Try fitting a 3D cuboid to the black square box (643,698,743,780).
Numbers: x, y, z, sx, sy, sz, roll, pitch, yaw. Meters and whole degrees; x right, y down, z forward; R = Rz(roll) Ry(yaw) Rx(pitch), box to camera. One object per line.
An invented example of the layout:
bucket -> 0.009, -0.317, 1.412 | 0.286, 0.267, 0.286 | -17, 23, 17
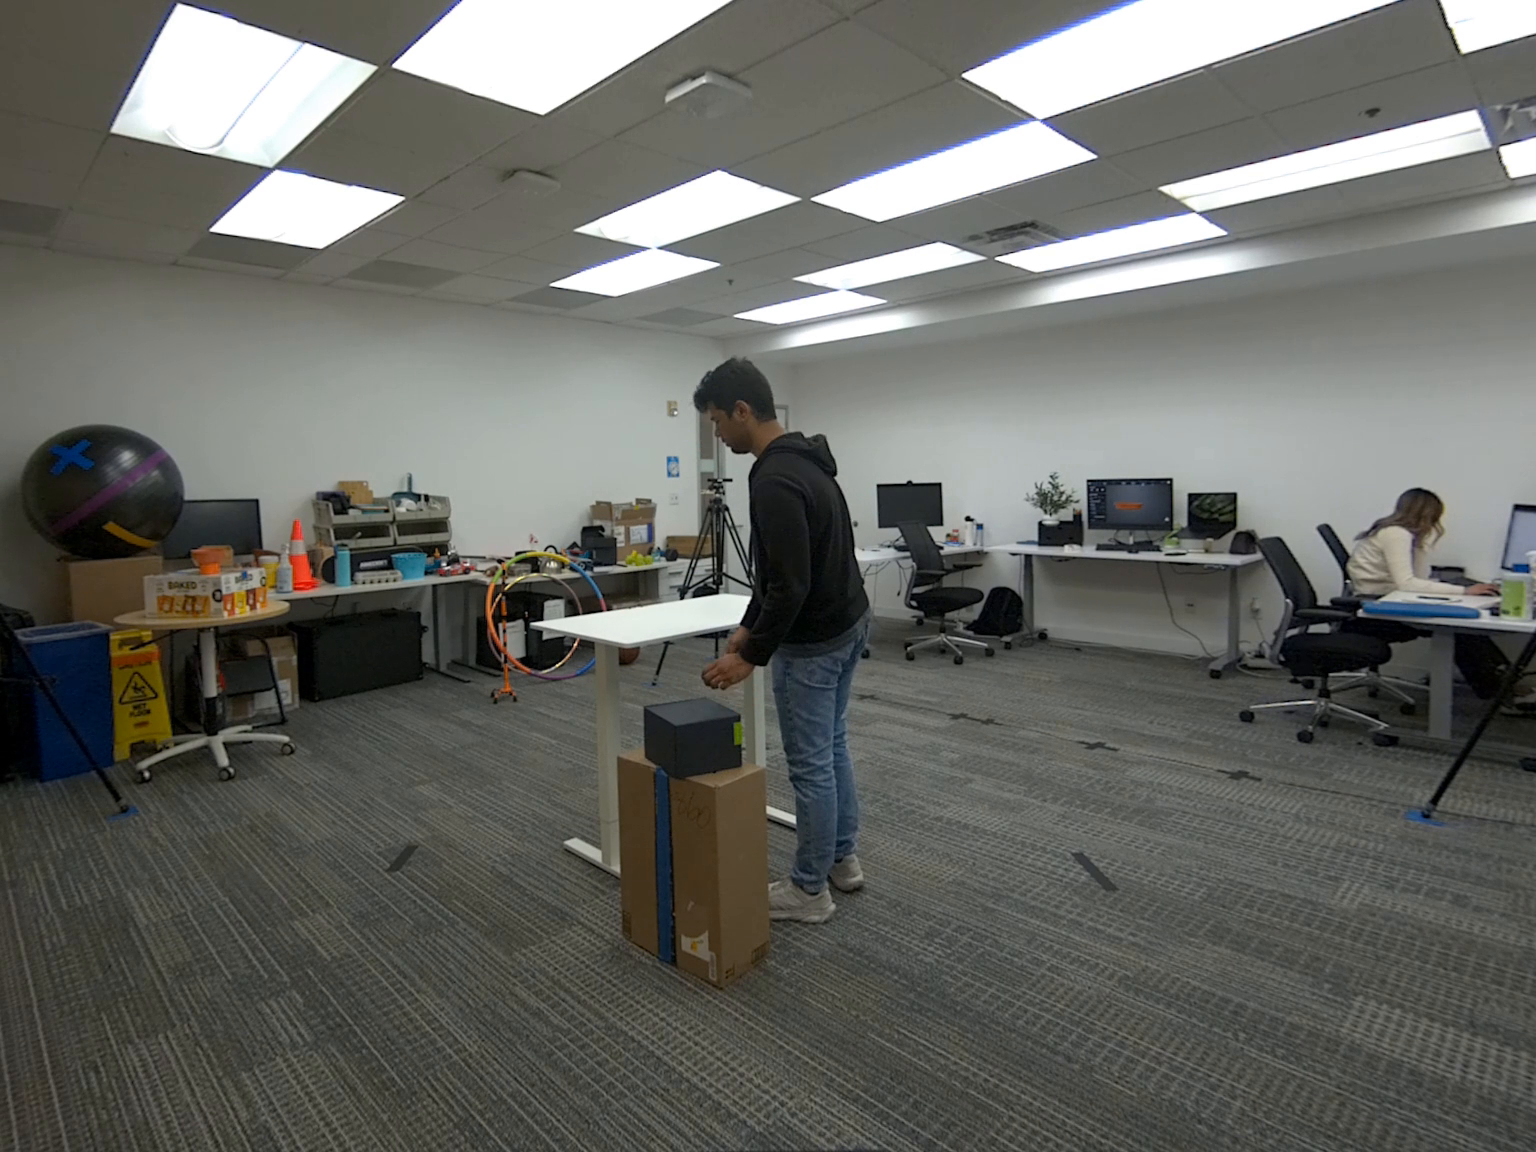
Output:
black square box -> -0.229, 0.476, 2.517 | 0.212, 0.155, 0.234 | -4, 6, -30
